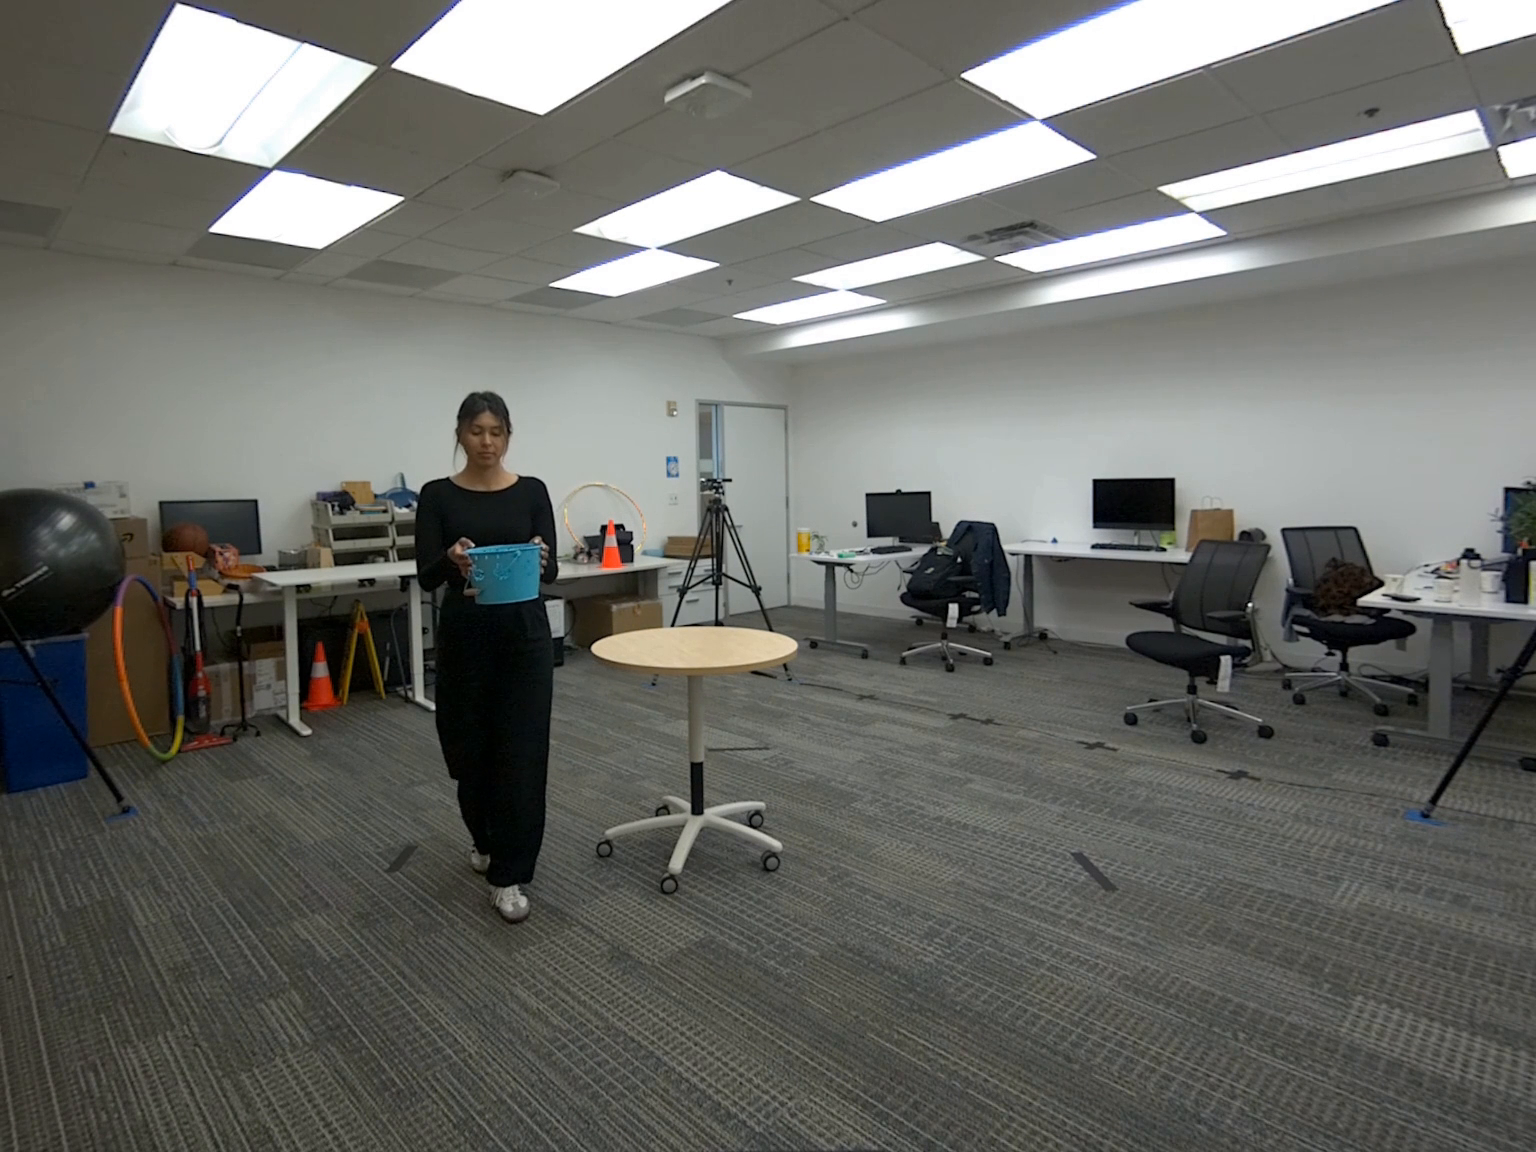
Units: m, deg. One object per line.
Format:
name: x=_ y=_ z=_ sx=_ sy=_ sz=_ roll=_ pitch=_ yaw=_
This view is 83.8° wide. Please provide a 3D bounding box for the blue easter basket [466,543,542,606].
blue easter basket: x=-0.801 y=-0.003 z=2.523 sx=0.243 sy=0.155 sz=0.245 roll=-4 pitch=5 yaw=-1
